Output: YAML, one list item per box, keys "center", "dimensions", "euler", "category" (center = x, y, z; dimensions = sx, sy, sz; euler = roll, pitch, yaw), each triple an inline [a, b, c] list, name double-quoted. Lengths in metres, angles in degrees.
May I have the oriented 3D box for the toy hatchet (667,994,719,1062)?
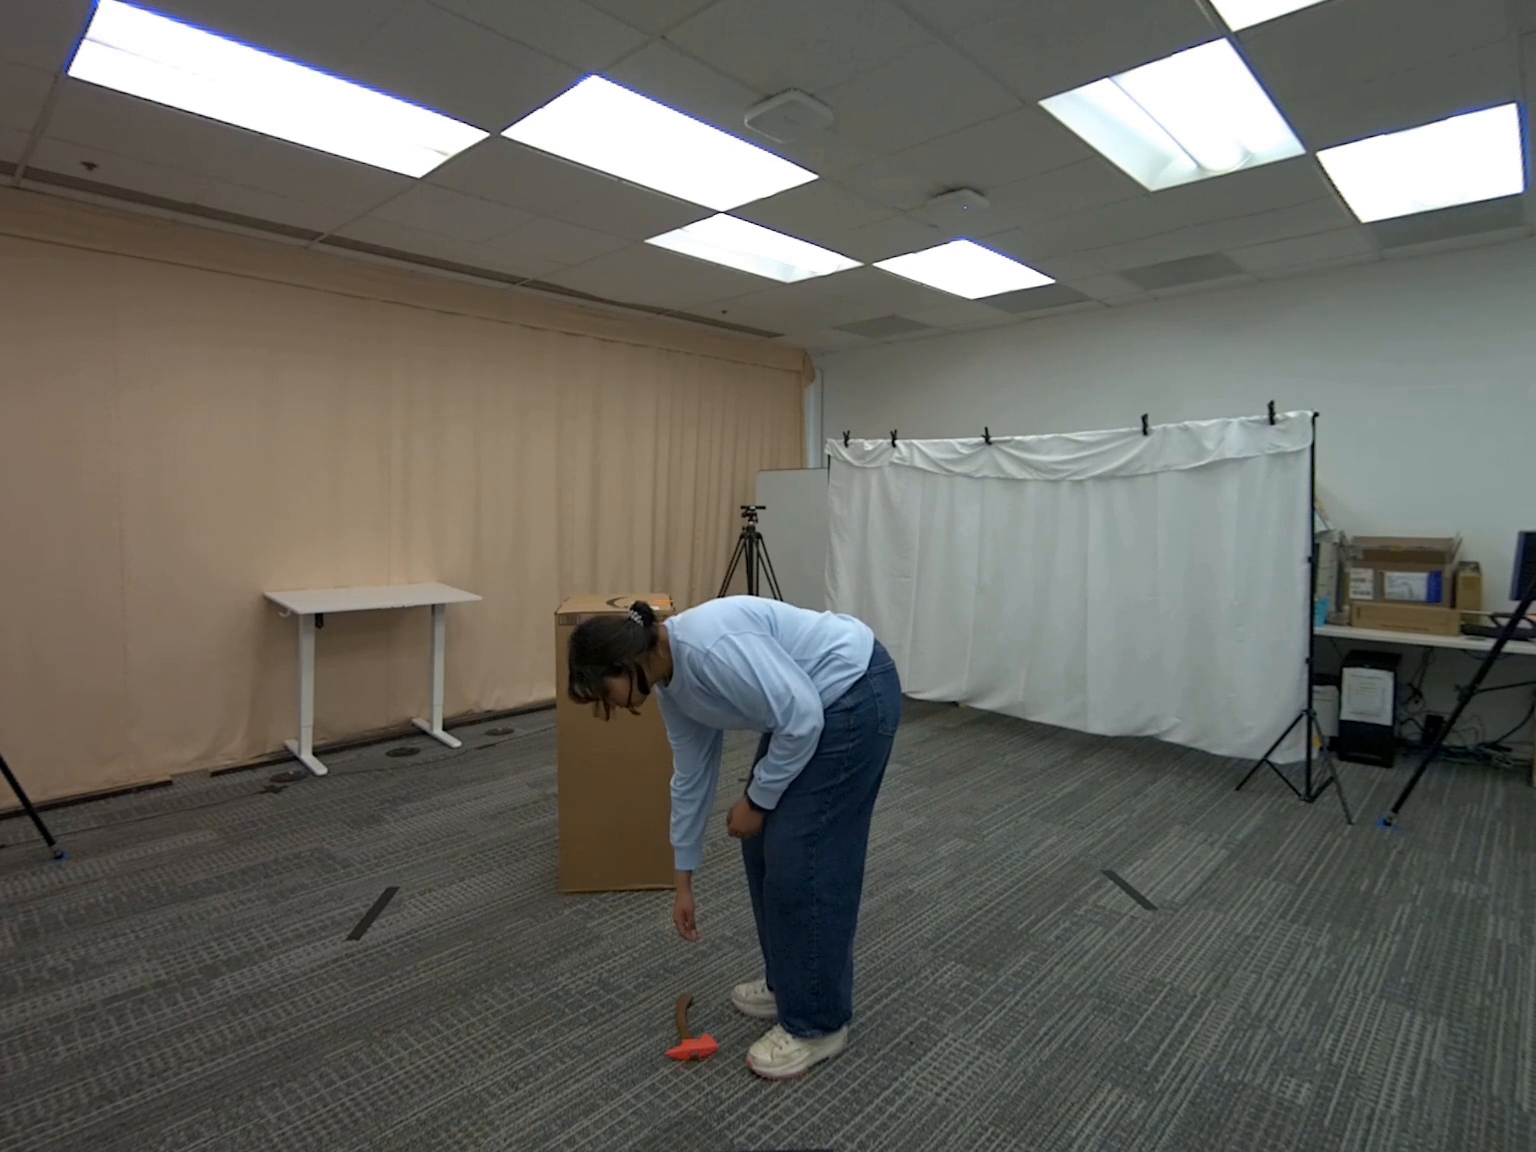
- center: [-0.185, 1.197, 2.236]
  dimensions: [0.132, 0.029, 0.269]
  euler: [-1, 4, 4]
  category: "toy hatchet"
